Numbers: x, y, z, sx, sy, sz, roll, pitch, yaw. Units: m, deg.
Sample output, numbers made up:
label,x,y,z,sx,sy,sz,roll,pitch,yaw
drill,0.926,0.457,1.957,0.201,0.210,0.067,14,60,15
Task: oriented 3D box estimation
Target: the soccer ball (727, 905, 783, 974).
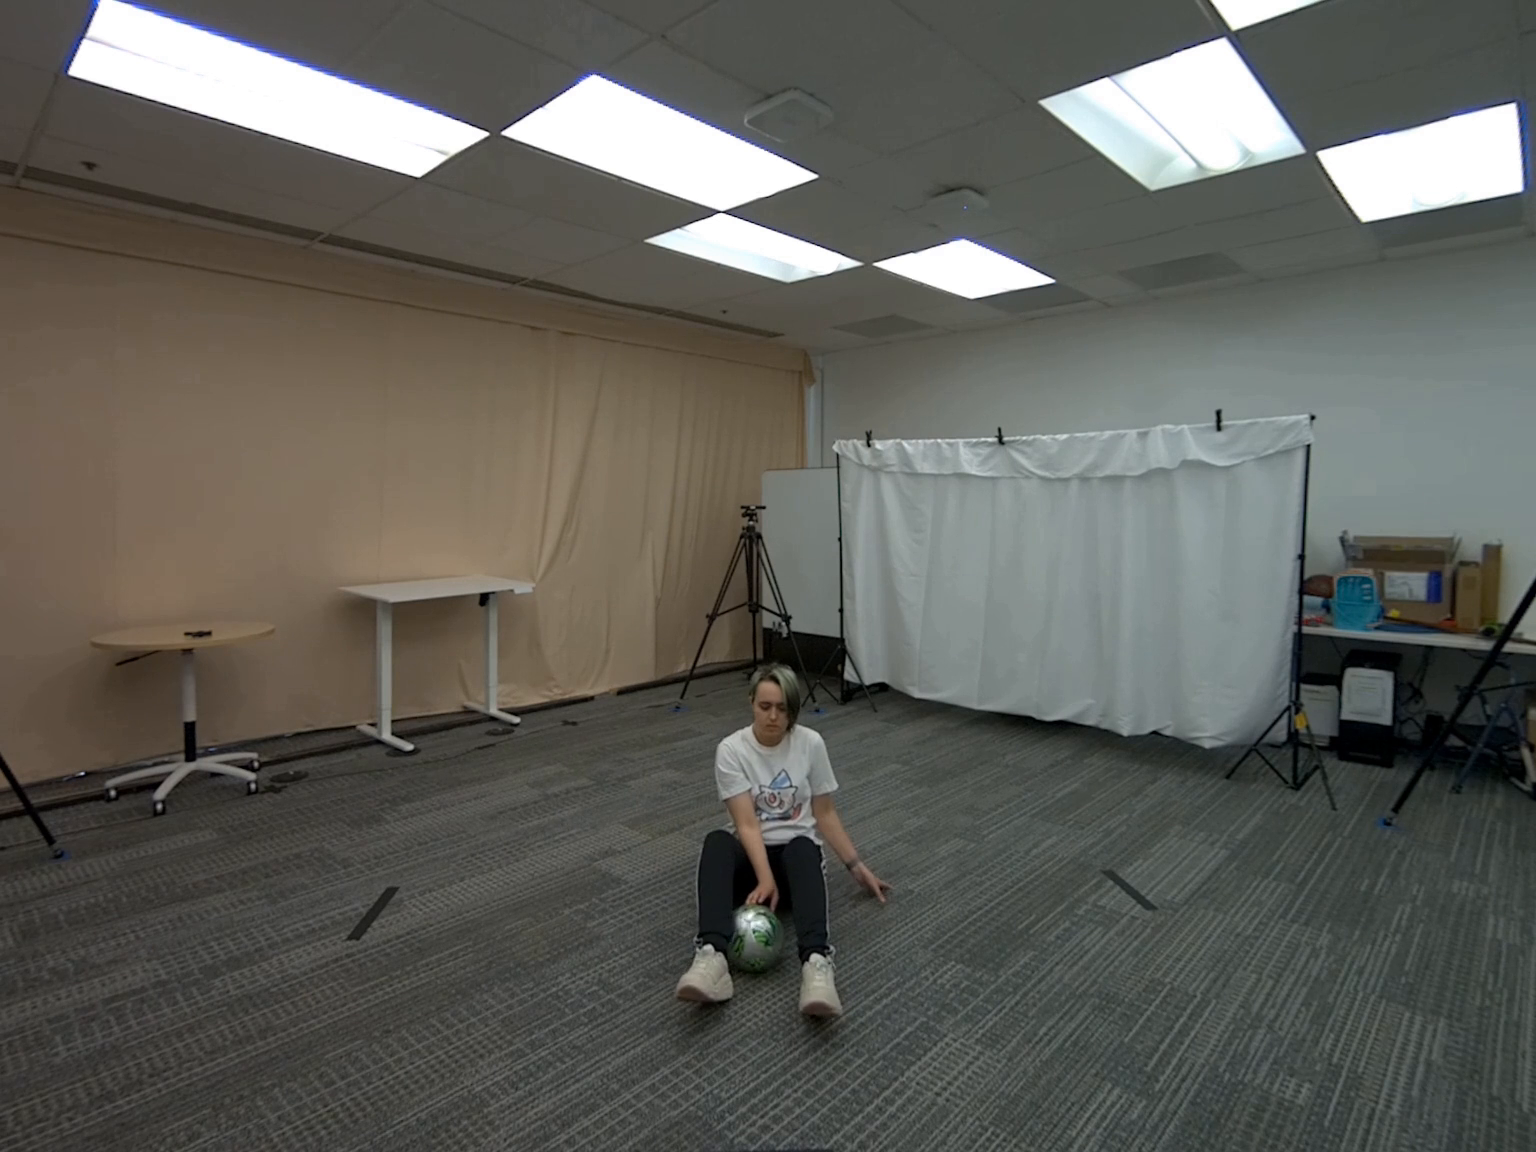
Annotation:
label,x,y,z,sx,sy,sz,roll,pitch,yaw
soccer ball,-0.046,1.090,2.537,0.187,0.187,0.188,0,4,-2
